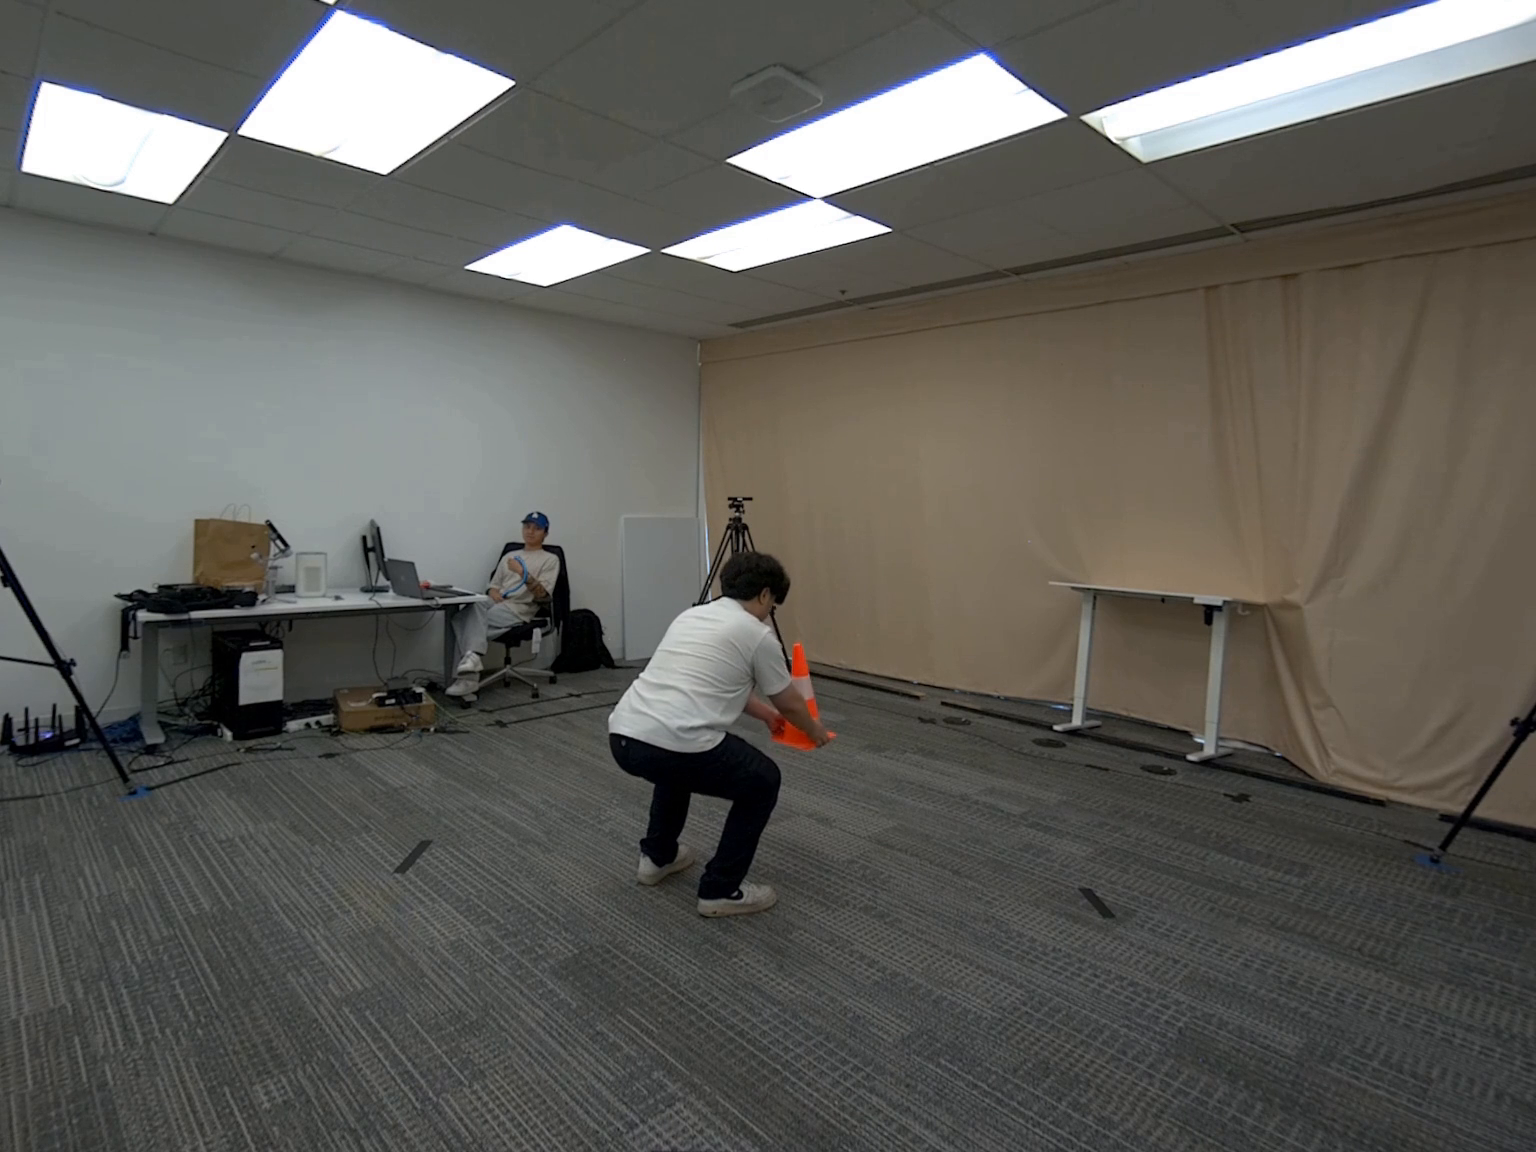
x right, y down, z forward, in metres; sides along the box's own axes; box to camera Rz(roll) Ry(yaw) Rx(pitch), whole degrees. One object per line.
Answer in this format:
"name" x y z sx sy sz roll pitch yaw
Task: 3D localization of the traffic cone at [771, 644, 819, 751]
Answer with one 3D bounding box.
"traffic cone" 0.119 0.458 3.339 0.209 0.381 0.200 2 9 33
